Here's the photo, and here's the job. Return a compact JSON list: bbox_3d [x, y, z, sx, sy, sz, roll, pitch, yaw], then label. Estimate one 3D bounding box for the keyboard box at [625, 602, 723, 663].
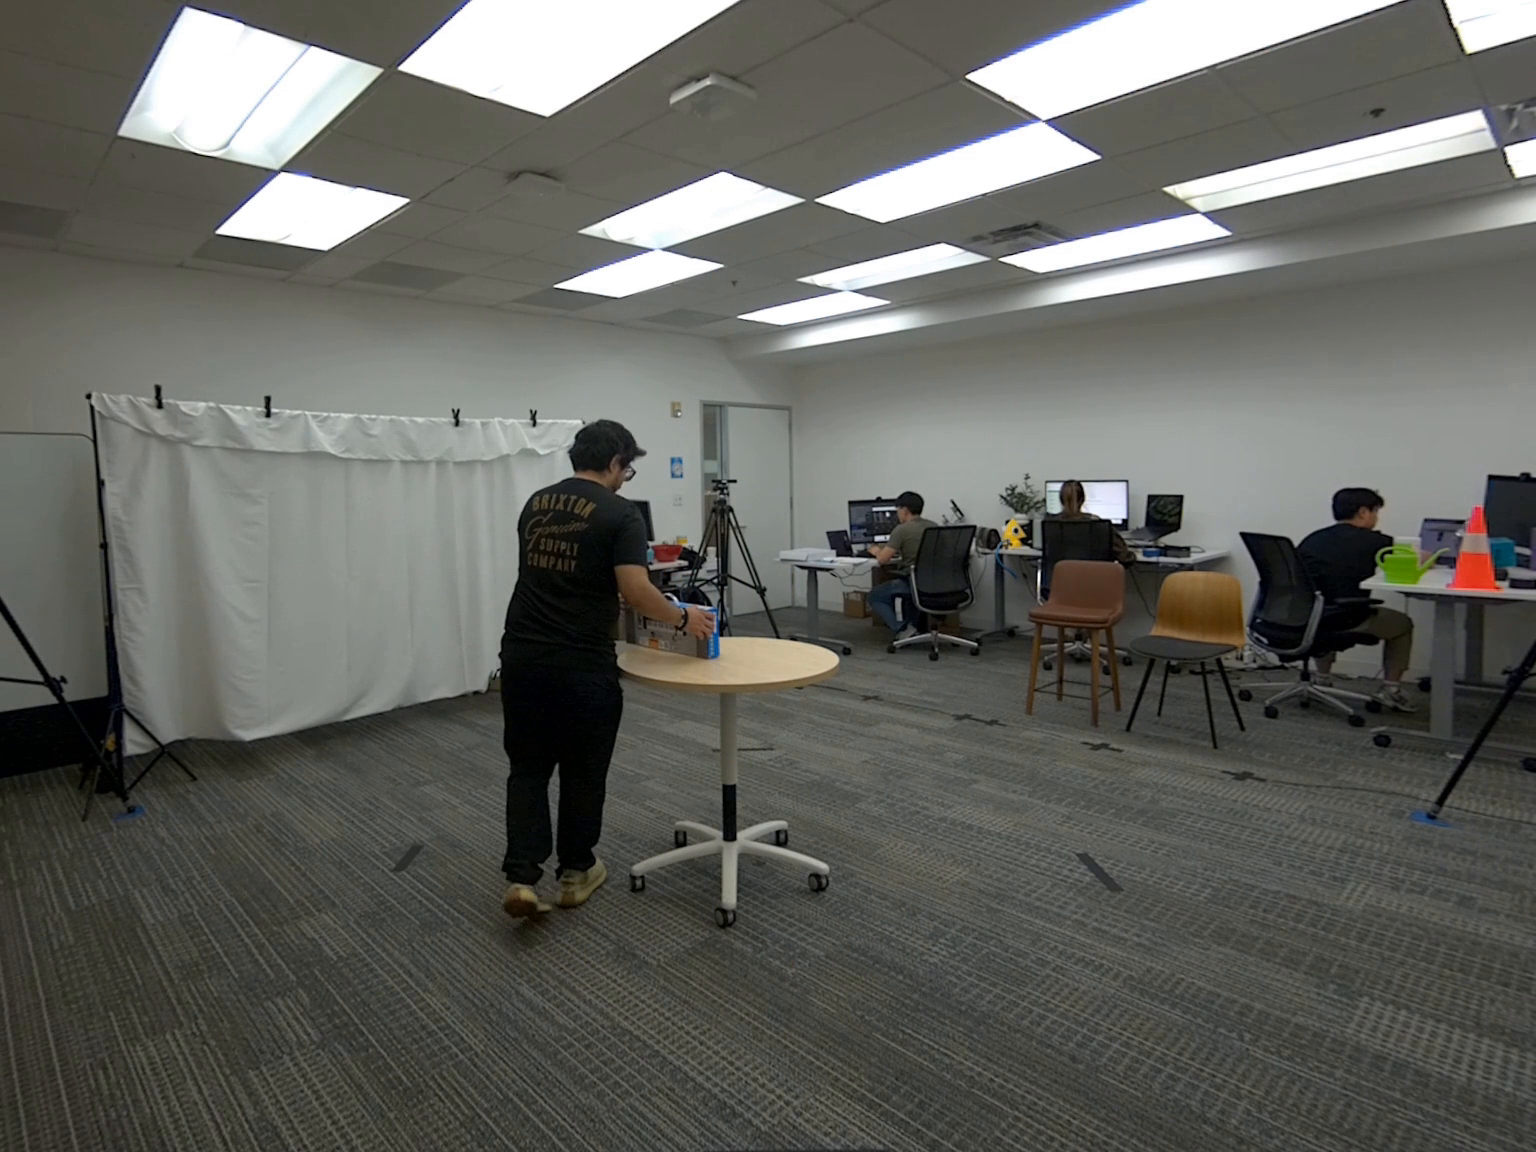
[{"bbox_3d":[-0.348,0.185,3.083,0.450,0.175,0.058,6,10,42],"label":"keyboard box"}]
